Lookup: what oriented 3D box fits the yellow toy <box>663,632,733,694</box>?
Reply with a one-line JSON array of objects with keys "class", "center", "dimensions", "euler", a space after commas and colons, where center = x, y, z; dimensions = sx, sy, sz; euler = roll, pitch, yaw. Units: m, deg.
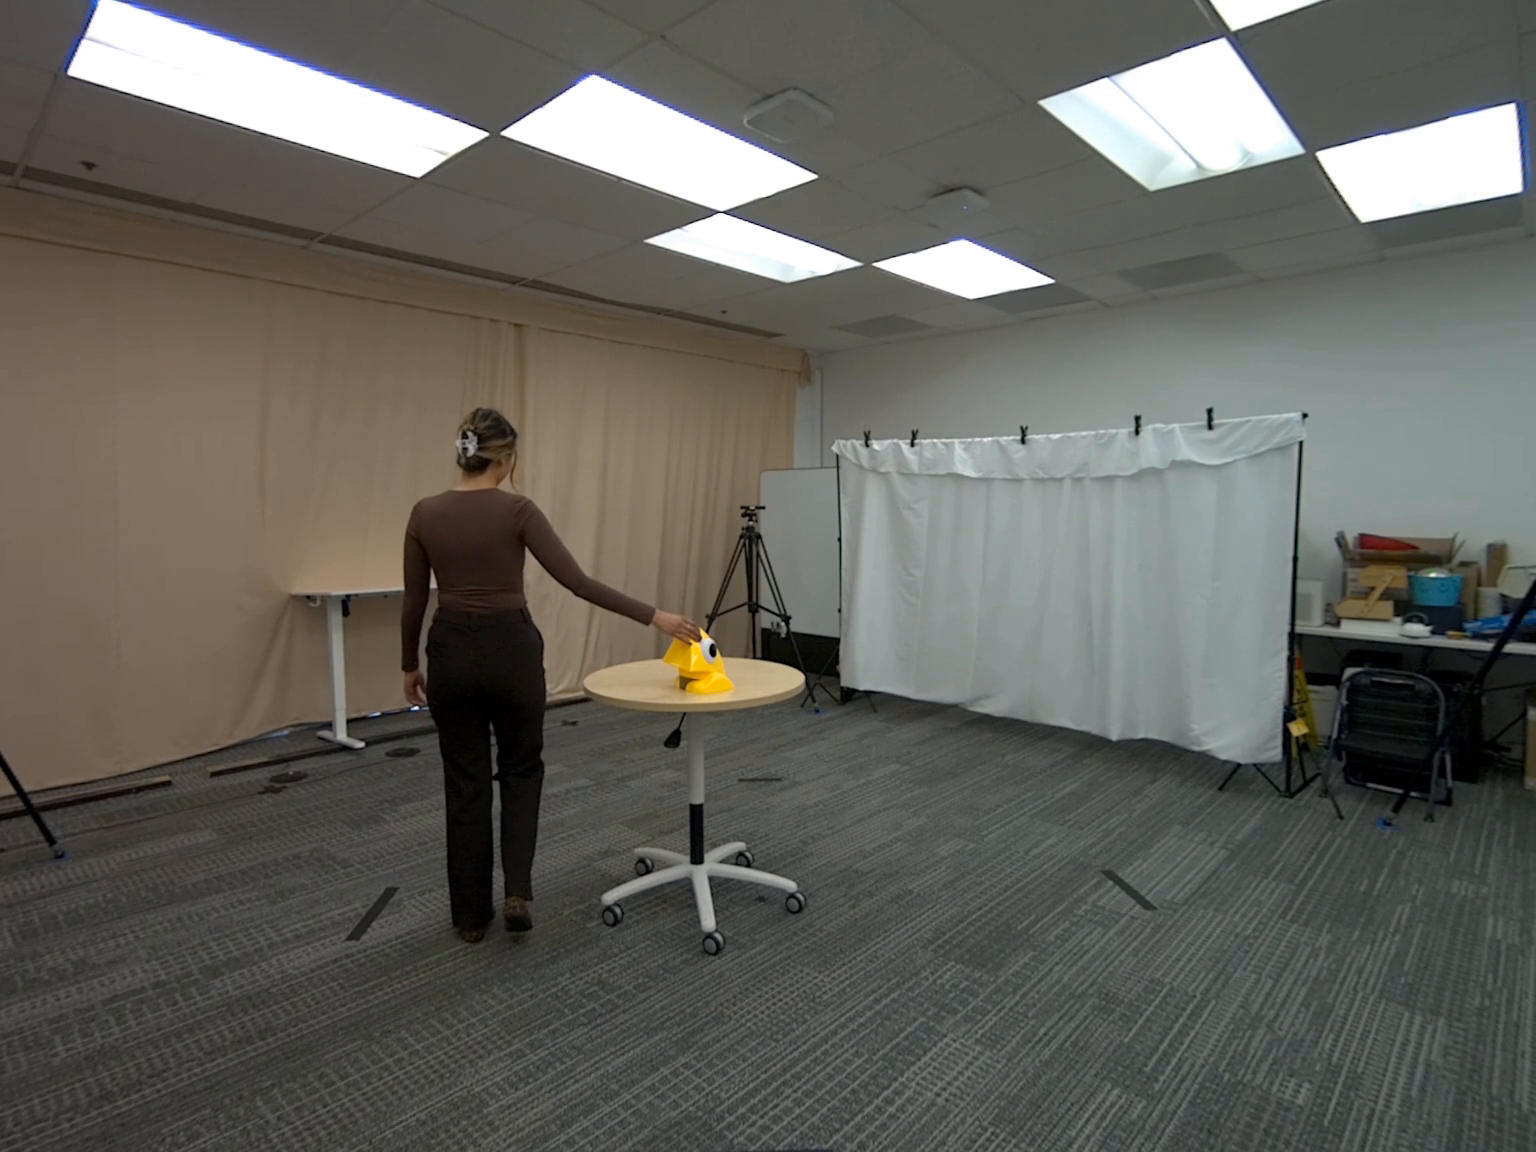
[{"class": "yellow toy", "center": [-0.224, 0.254, 2.763], "dimensions": [0.188, 0.230, 0.211], "euler": [-3, 4, -31]}]
